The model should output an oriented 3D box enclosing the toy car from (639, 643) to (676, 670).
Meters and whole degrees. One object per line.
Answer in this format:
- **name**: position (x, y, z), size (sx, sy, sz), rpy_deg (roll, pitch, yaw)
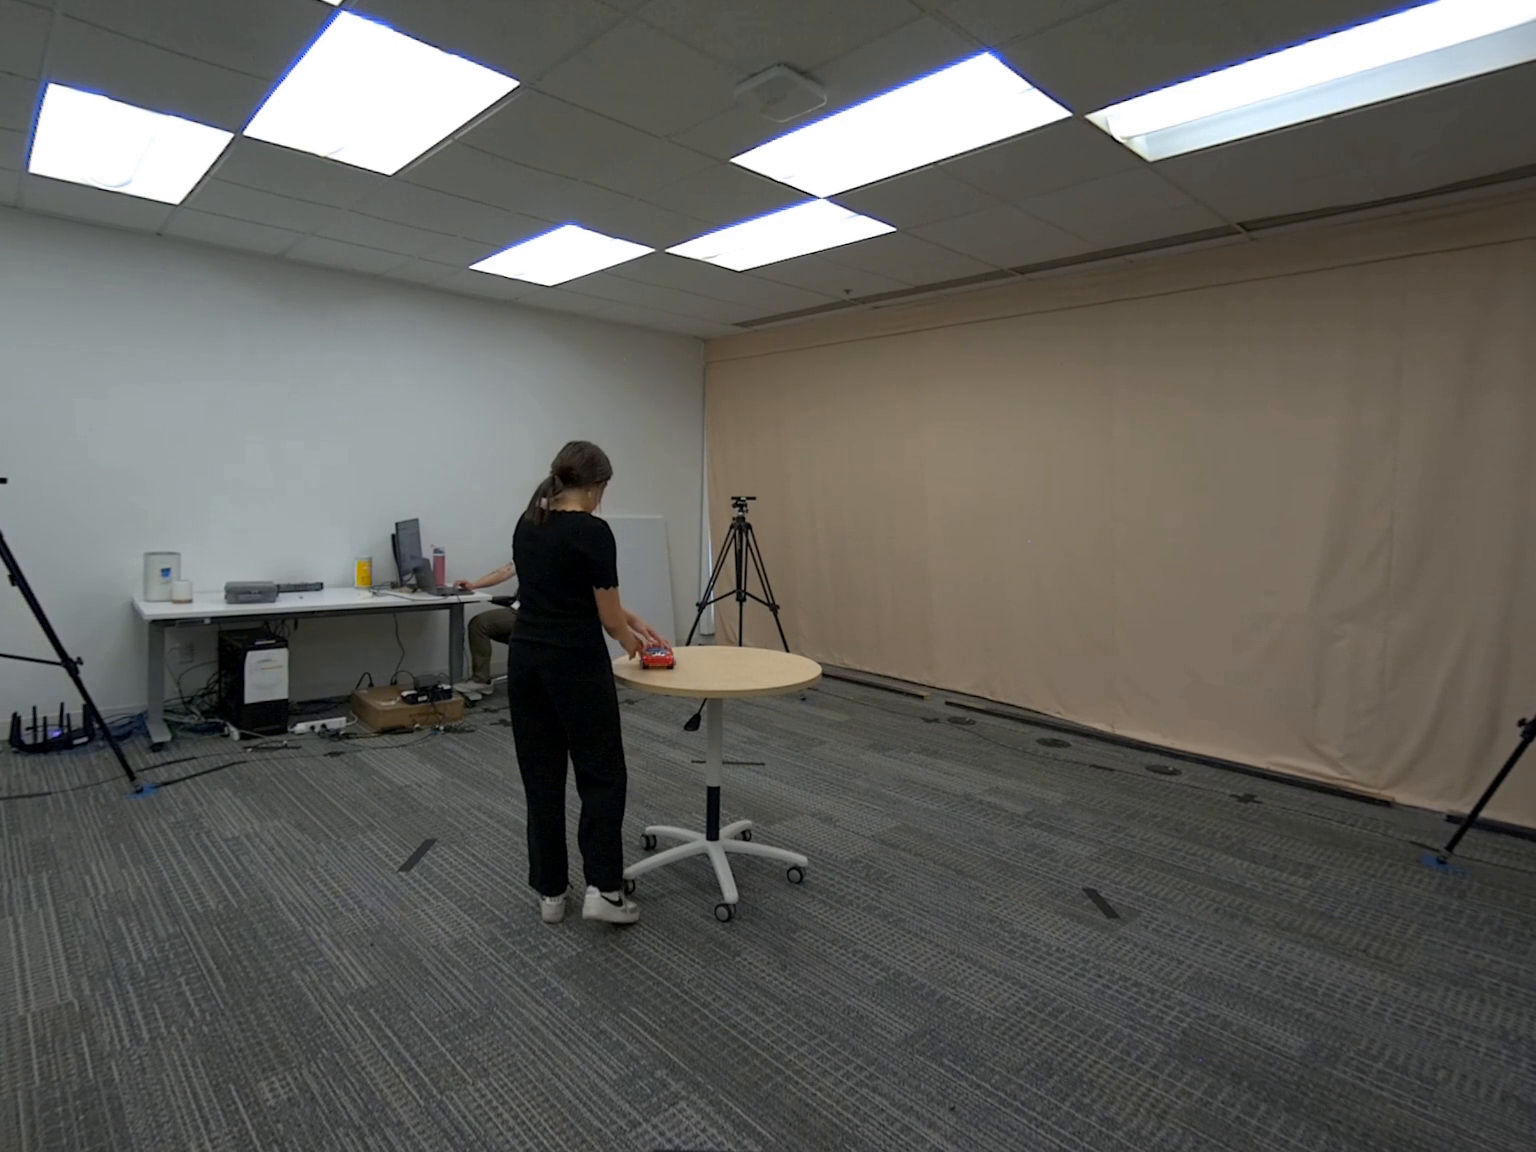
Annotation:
- **toy car**: position (-0.413, 0.290, 3.072), size (0.129, 0.082, 0.259), rpy_deg (0, 16, -8)
